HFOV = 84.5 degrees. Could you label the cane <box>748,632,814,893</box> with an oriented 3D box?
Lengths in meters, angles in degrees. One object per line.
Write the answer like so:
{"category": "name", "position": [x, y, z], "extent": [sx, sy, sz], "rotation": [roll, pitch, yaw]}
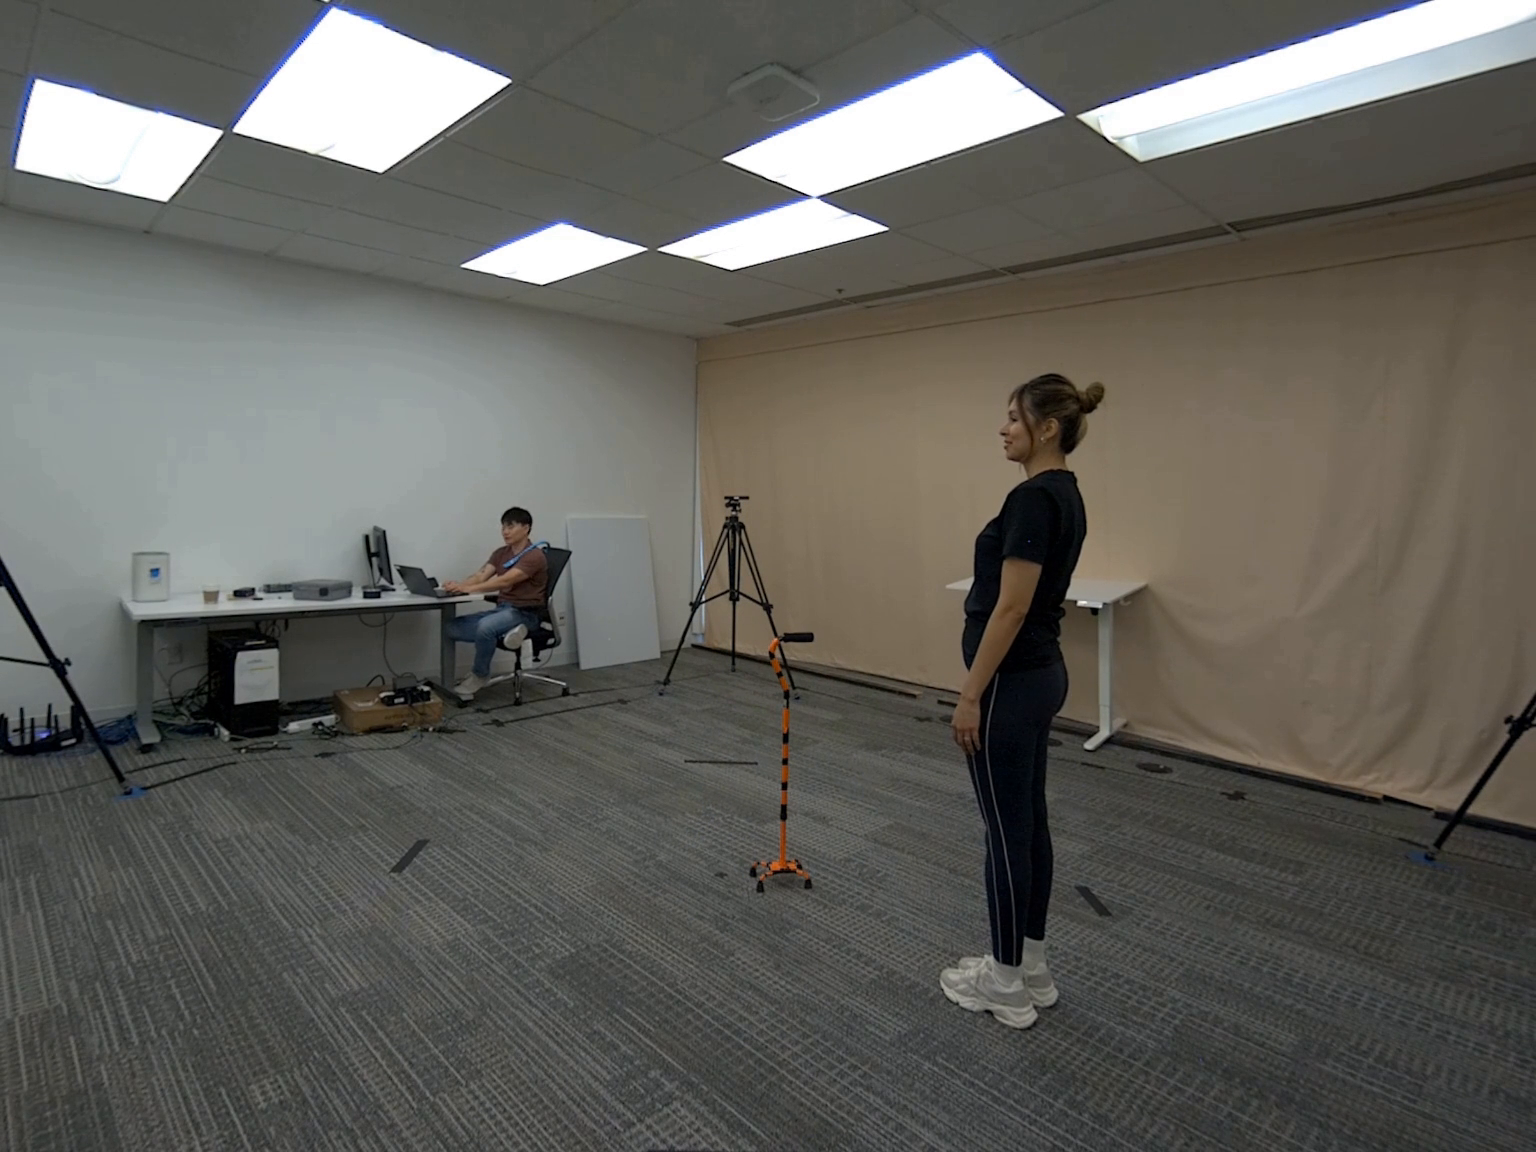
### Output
{"category": "cane", "position": [0.053, 0.662, 3.033], "extent": [0.204, 0.906, 0.153], "rotation": [1, 3, -13]}
